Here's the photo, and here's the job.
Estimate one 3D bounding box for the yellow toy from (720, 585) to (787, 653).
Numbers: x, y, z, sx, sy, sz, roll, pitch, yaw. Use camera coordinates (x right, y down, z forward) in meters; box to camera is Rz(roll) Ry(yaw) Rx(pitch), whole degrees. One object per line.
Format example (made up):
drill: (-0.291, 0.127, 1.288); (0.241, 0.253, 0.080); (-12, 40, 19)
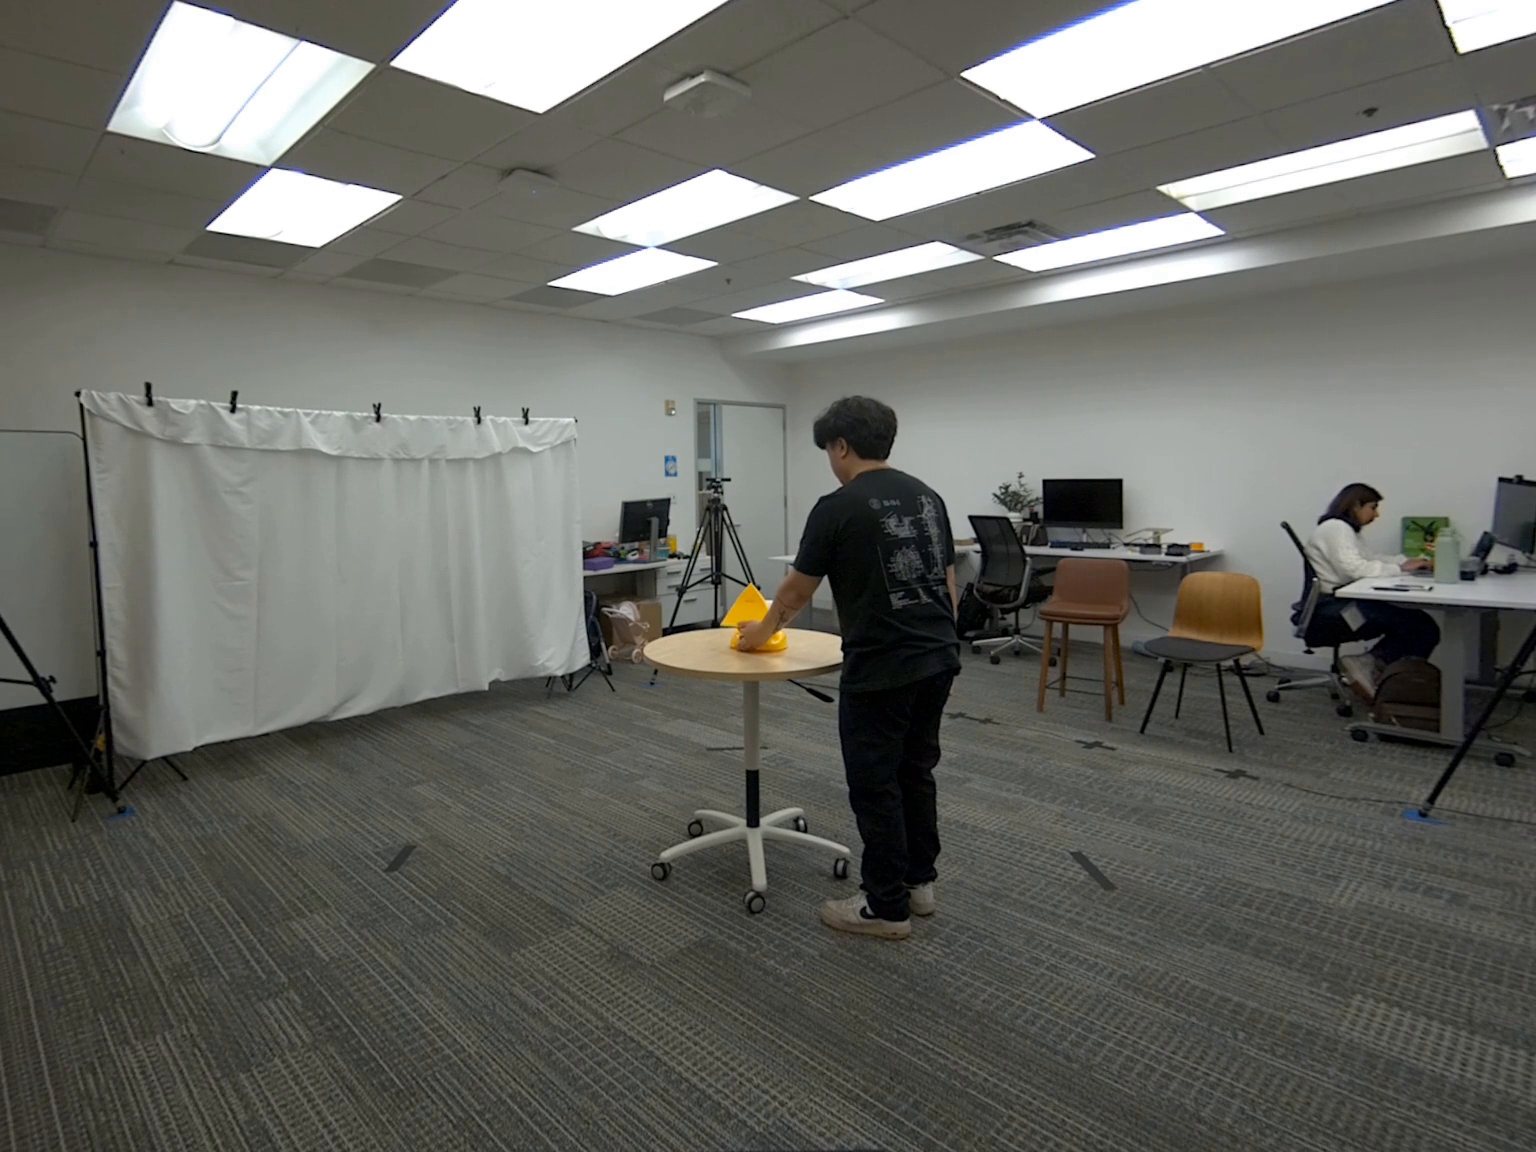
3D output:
yellow toy: (-0.033, 0.139, 3.042); (0.210, 0.230, 0.189); (1, 2, 27)
